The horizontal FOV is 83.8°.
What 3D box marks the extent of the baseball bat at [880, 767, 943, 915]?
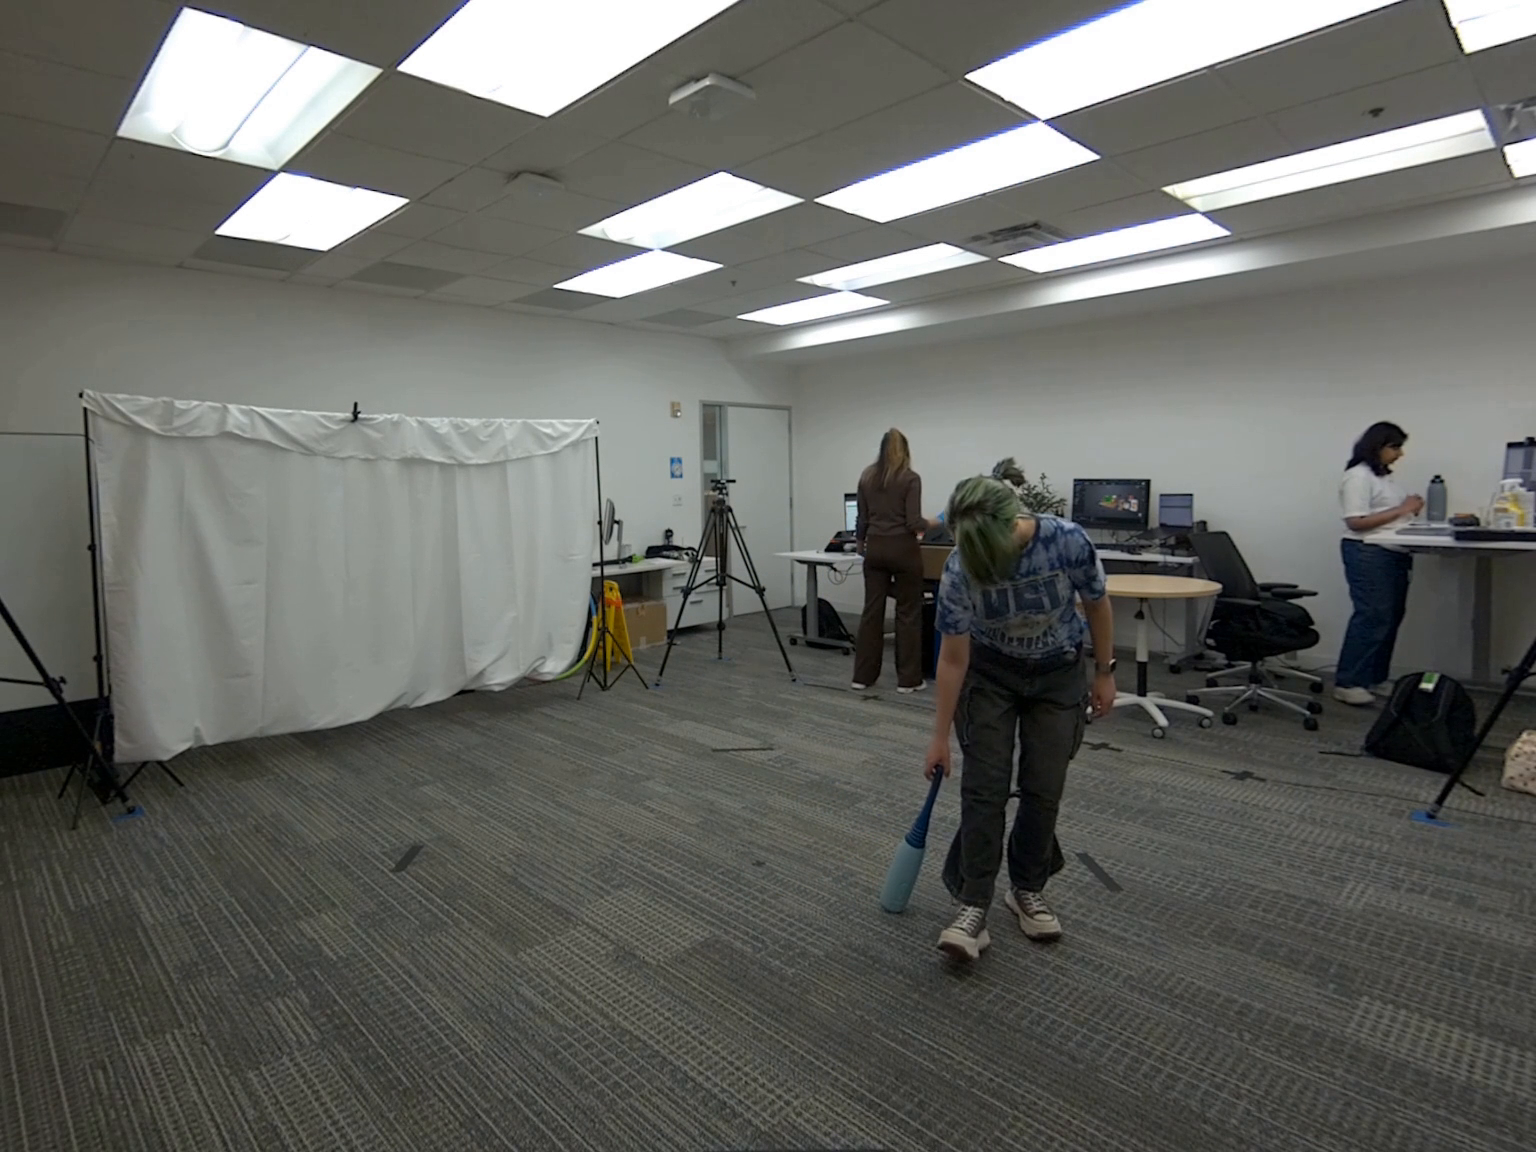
[{"bbox_3d":[0.482,0.833,2.681,0.088,0.537,0.091,14,19,-7],"label":"baseball bat"}]
